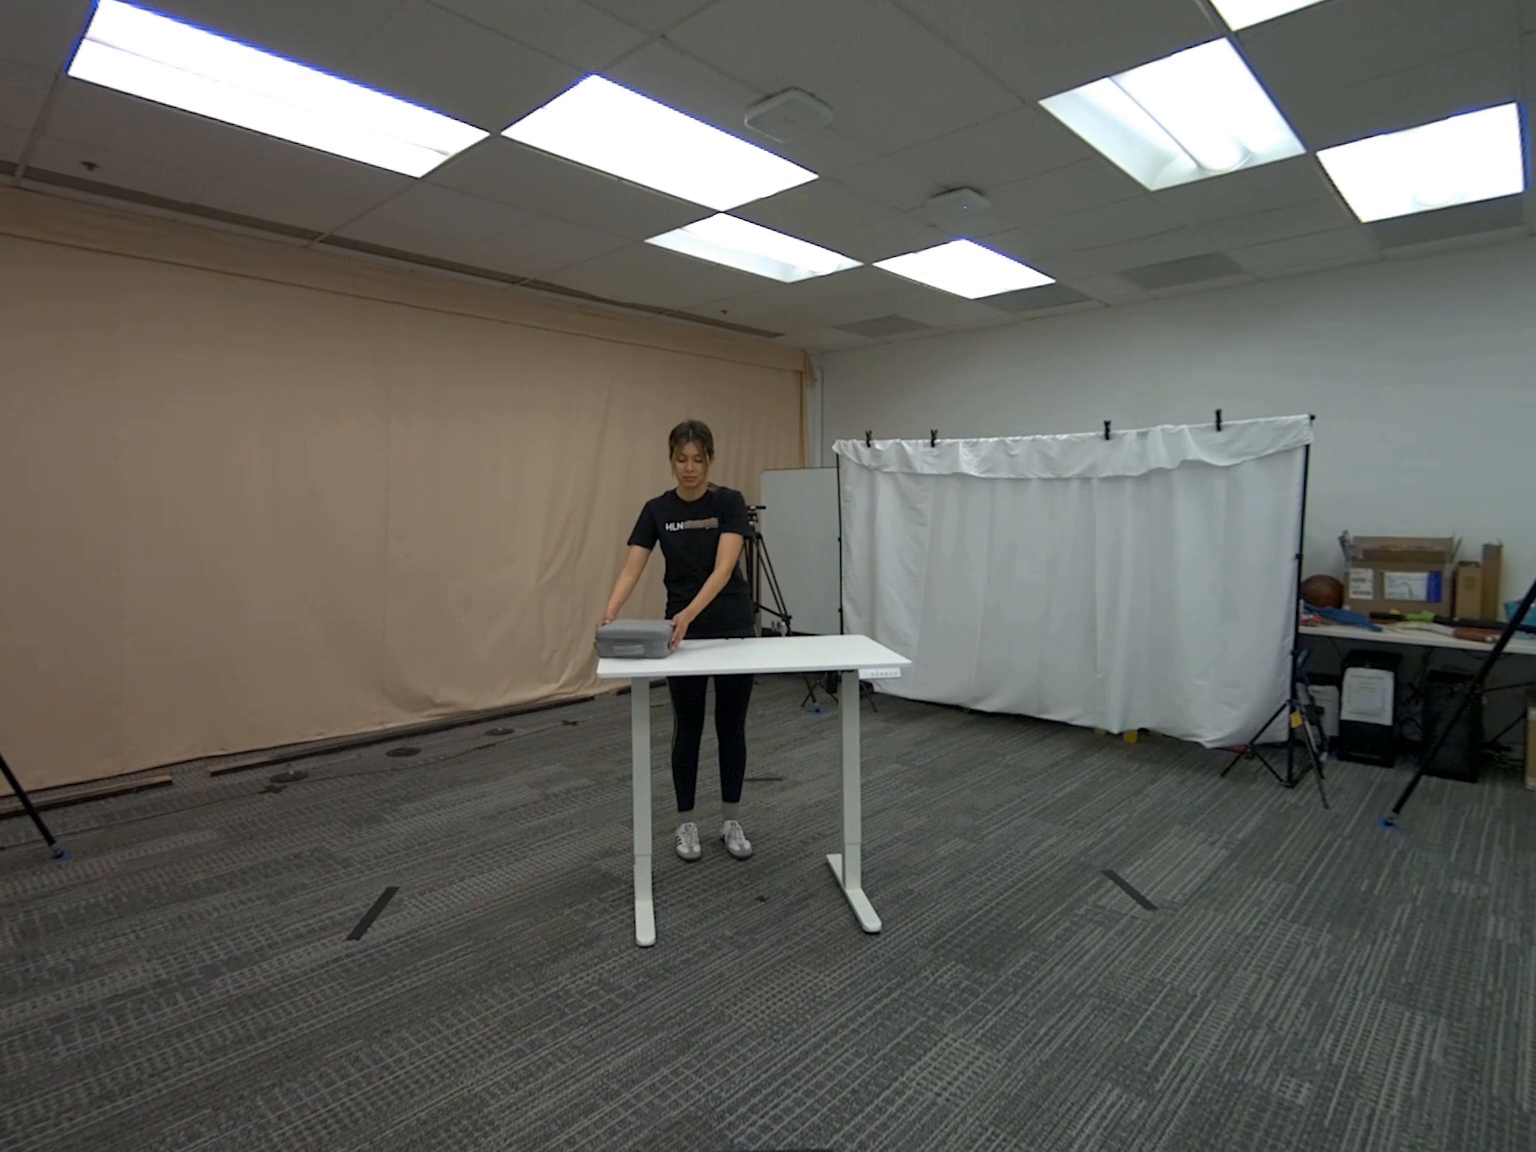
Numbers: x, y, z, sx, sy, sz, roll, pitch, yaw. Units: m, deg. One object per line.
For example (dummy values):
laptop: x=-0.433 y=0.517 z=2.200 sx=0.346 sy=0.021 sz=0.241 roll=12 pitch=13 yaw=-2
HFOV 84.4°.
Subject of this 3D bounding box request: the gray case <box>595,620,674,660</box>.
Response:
gray case: x=-0.450 y=0.217 z=2.946 sx=0.259 sy=0.104 sz=0.259 roll=0 pitch=5 yaw=8
